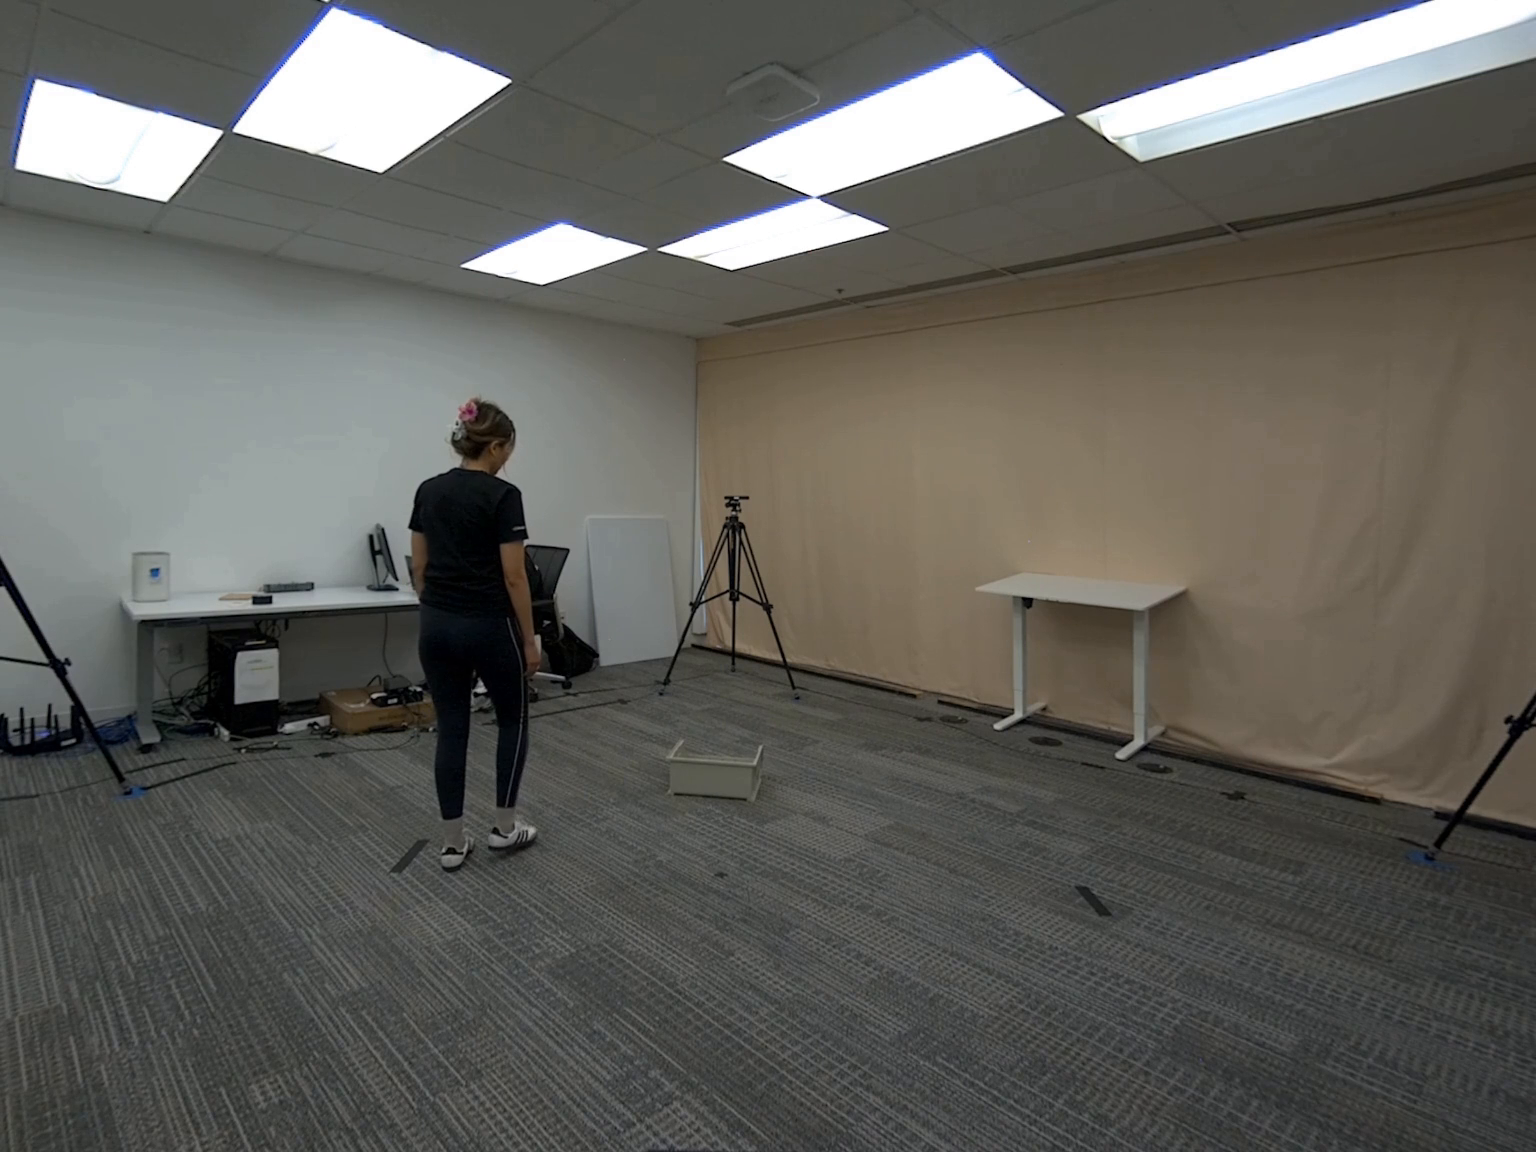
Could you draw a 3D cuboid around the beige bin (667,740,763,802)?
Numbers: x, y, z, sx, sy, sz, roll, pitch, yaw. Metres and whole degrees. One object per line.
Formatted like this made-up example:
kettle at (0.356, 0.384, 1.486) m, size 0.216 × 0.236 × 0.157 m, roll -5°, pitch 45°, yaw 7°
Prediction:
beige bin at (-0.260, 0.926, 4.081) m, size 0.425 × 0.188 × 0.376 m, roll 3°, pitch 5°, yaw 7°
